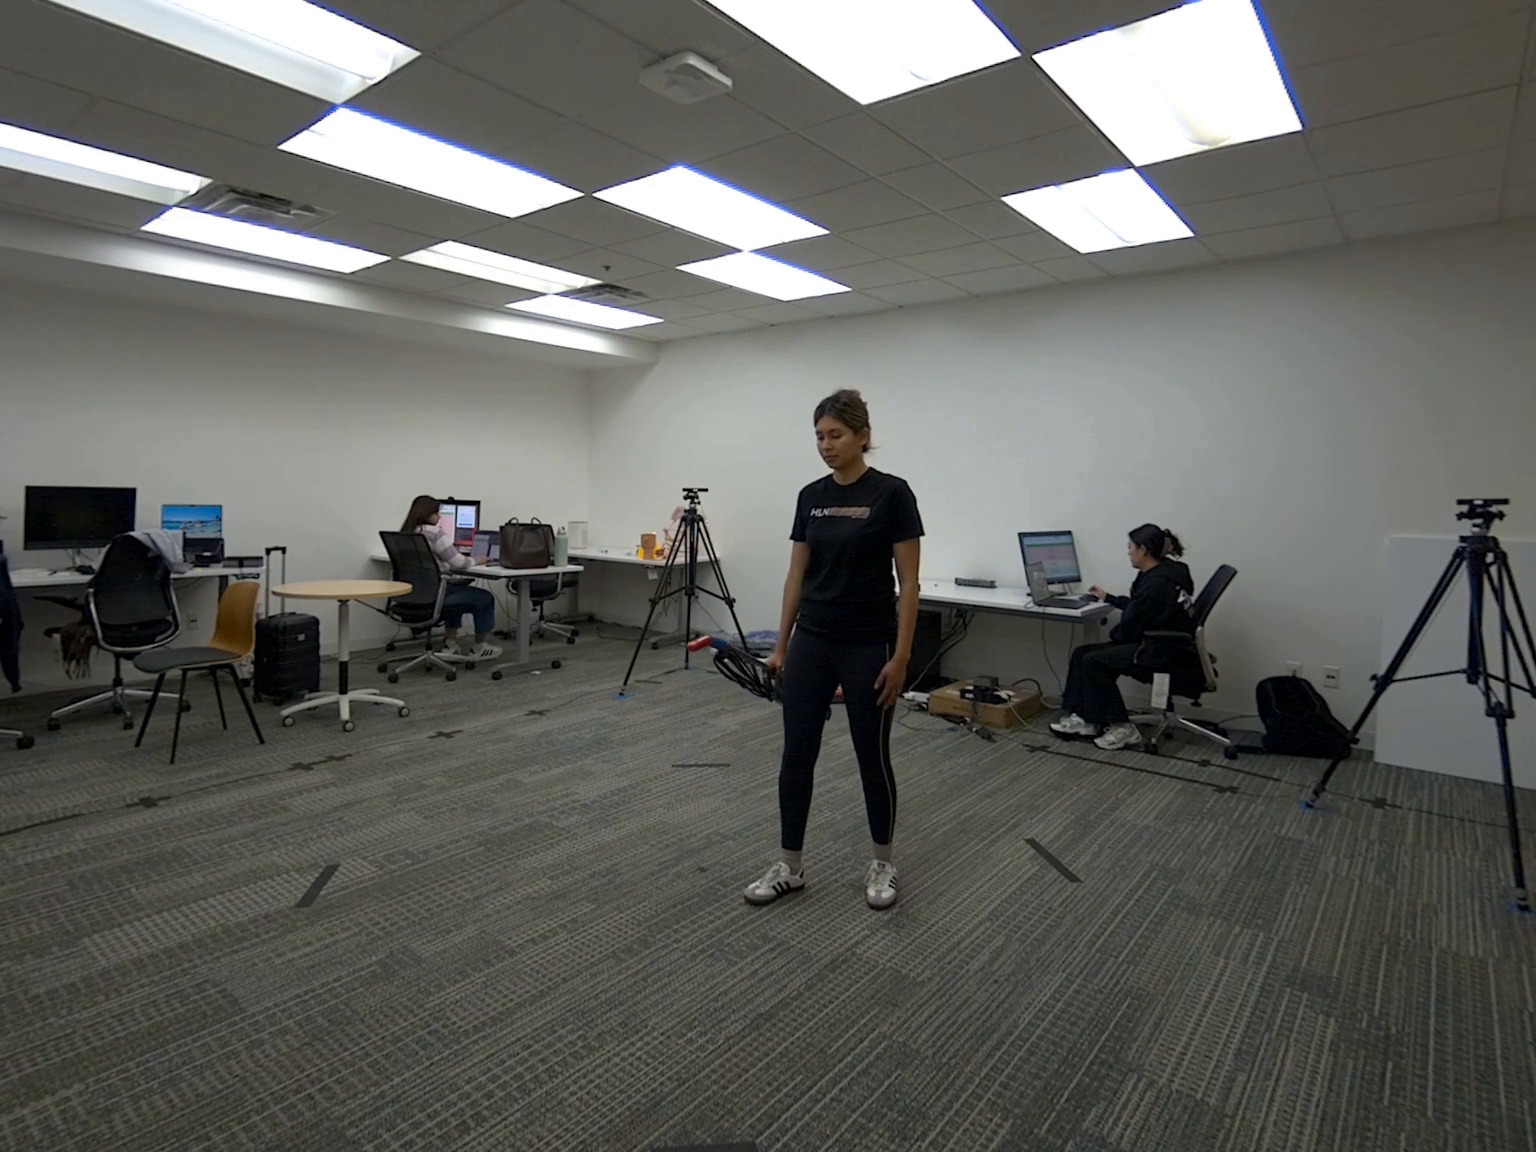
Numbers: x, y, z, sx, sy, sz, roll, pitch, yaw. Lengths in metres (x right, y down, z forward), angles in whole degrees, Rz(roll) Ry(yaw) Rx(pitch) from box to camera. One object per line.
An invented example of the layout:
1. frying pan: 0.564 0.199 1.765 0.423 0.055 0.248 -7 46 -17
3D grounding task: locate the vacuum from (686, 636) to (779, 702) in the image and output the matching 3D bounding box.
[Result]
1. vacuum: -0.051 0.354 2.960 0.260 0.145 1.009 5 -14 29
